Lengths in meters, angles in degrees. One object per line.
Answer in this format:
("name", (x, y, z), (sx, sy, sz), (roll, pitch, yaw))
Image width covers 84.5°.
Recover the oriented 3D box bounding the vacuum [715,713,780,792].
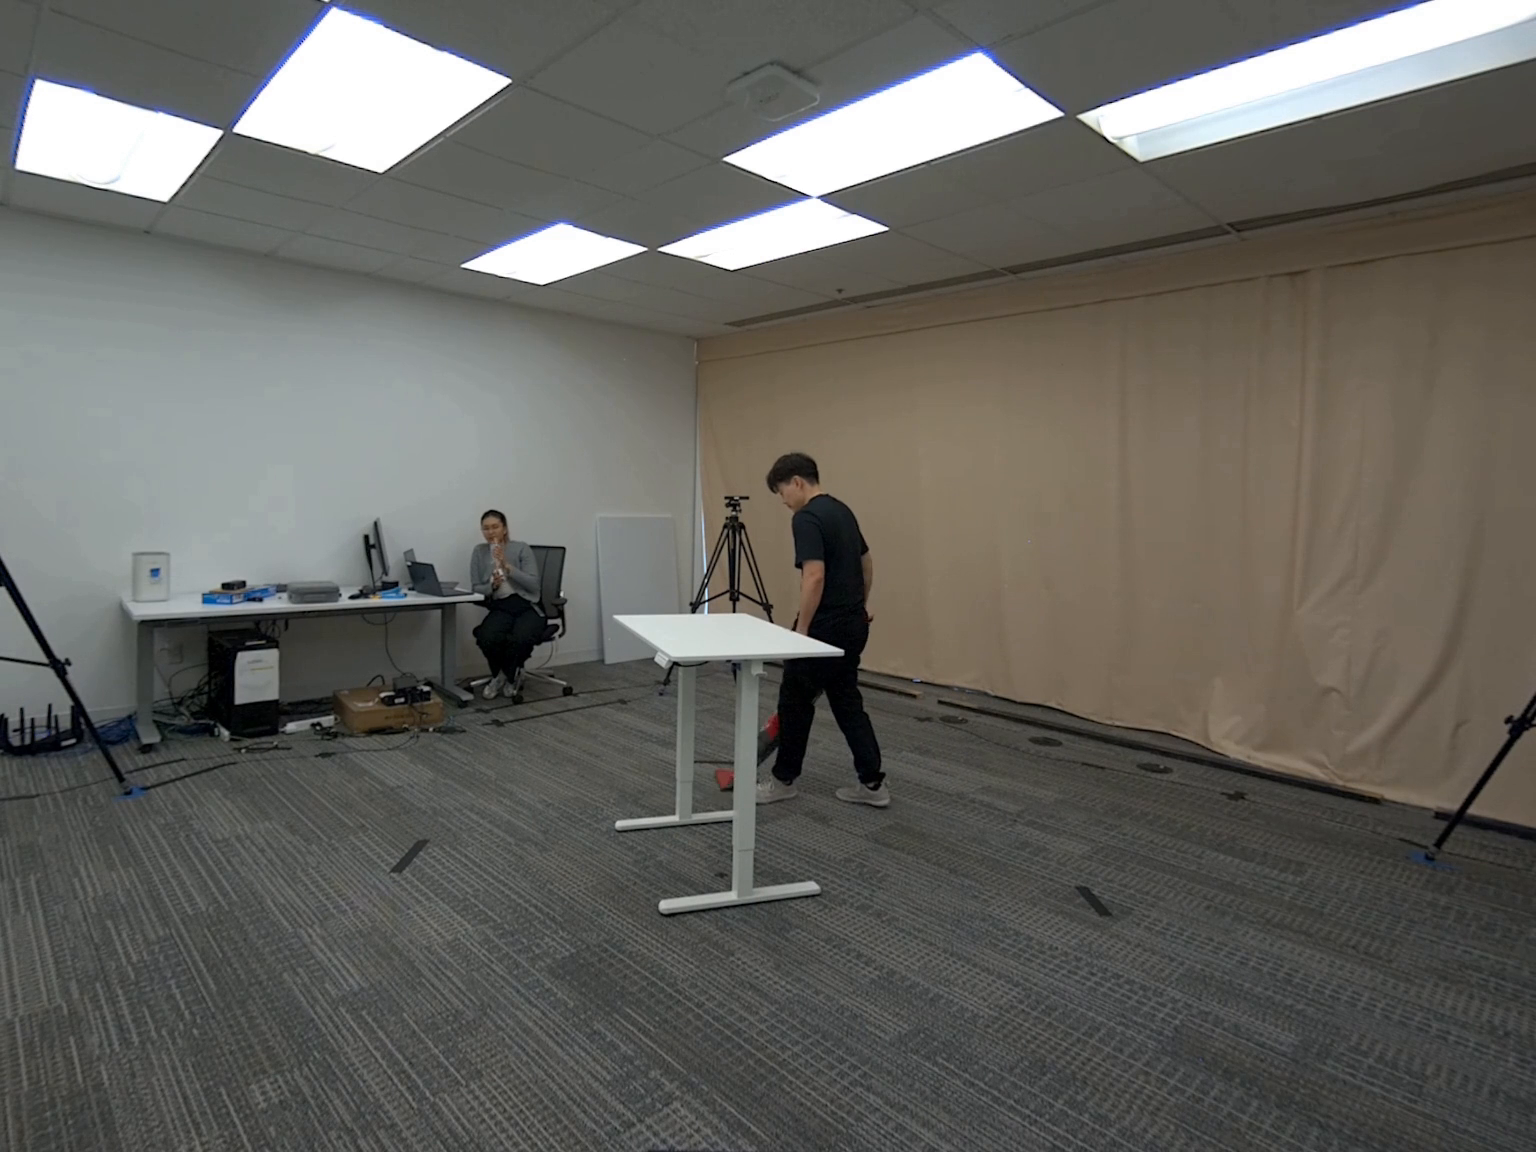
("vacuum", (0.158, 0.622, 4.162), (0.141, 1.049, 0.257), (43, -8, -17))
